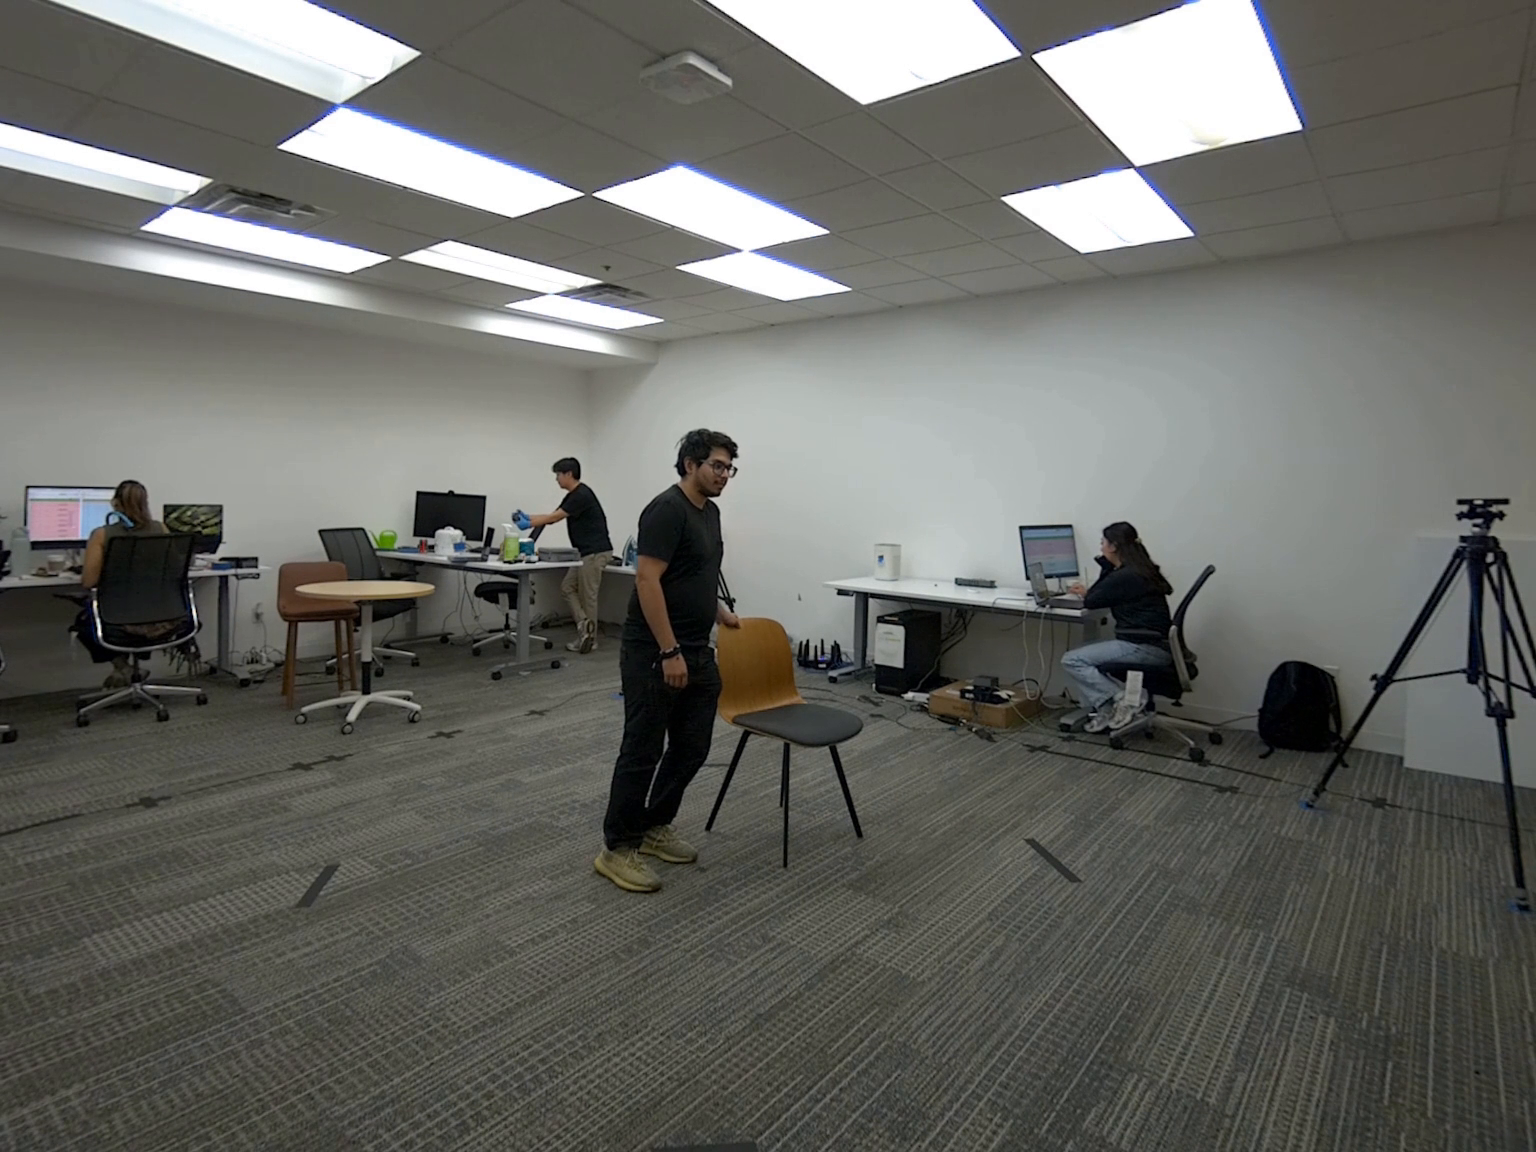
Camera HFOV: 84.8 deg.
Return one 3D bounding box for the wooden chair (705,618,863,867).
[{"bbox_3d":[0.073,0.619,3.415,0.463,0.877,0.539,-2,1,-44],"label":"wooden chair"}]
